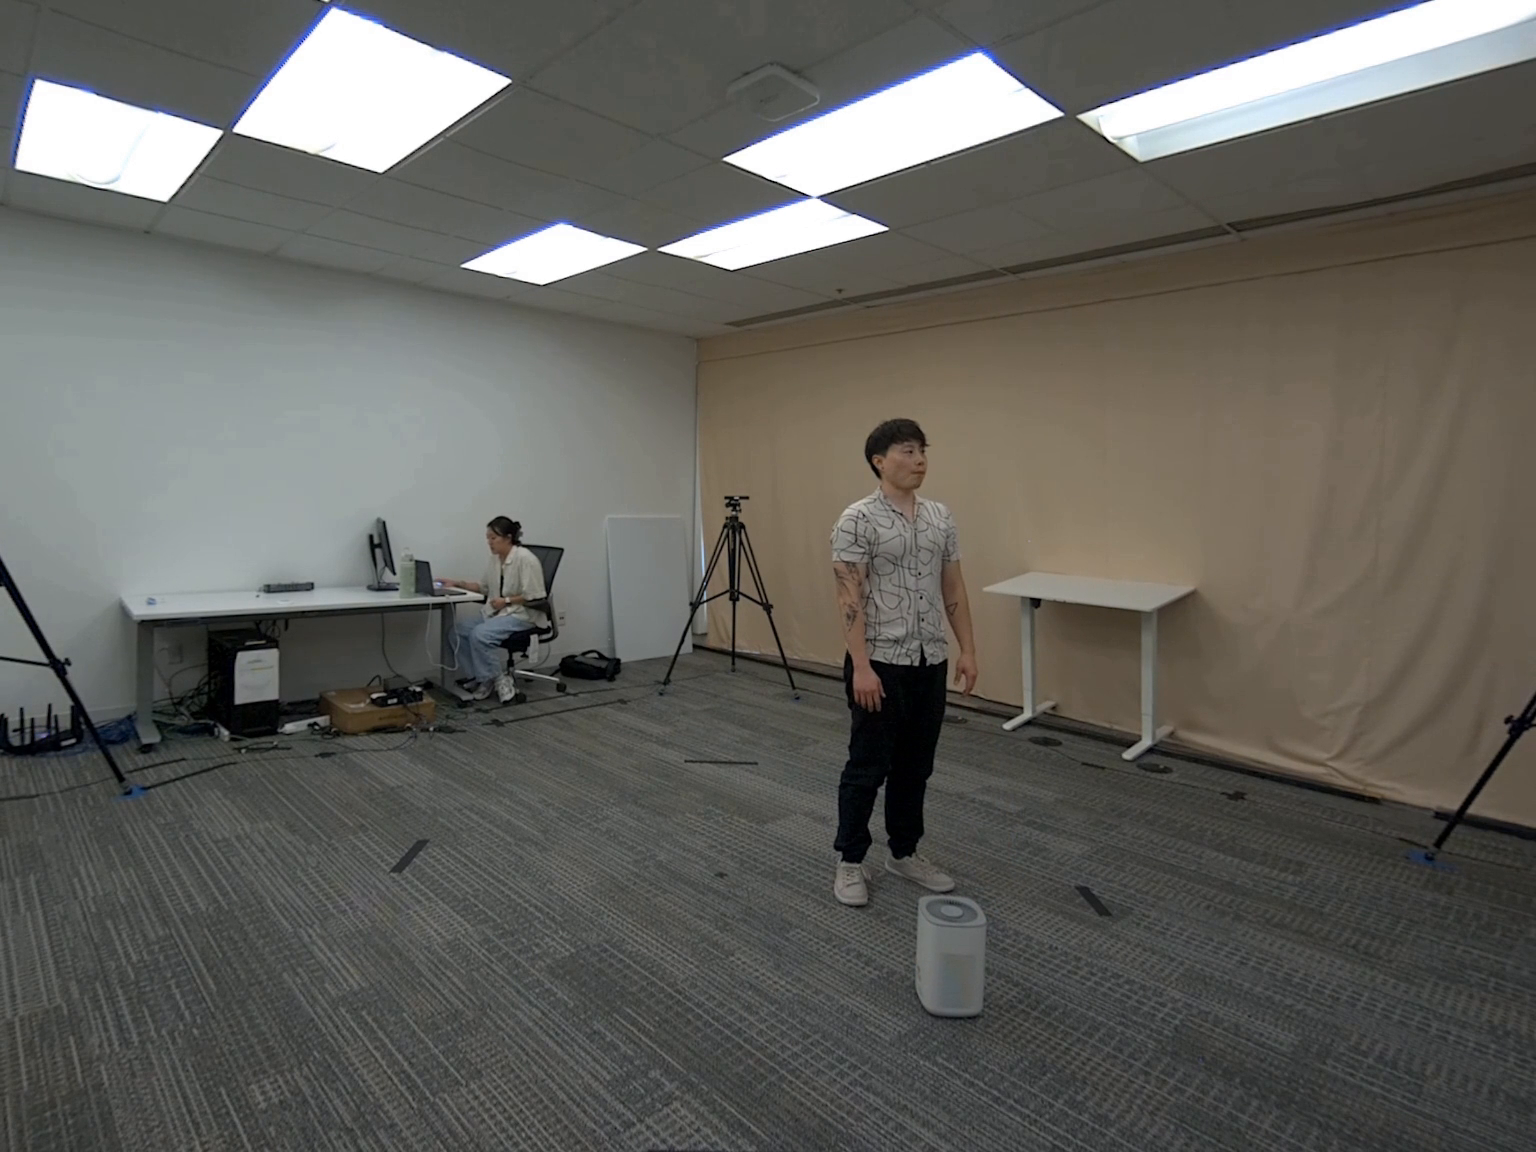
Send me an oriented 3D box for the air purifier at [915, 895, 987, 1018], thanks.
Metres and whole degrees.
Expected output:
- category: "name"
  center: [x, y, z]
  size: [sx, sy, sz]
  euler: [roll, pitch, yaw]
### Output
- category: "air purifier"
  center: [0.503, 1.060, 2.334]
  size: [0.171, 0.264, 0.172]
  euler: [1, 5, -3]
